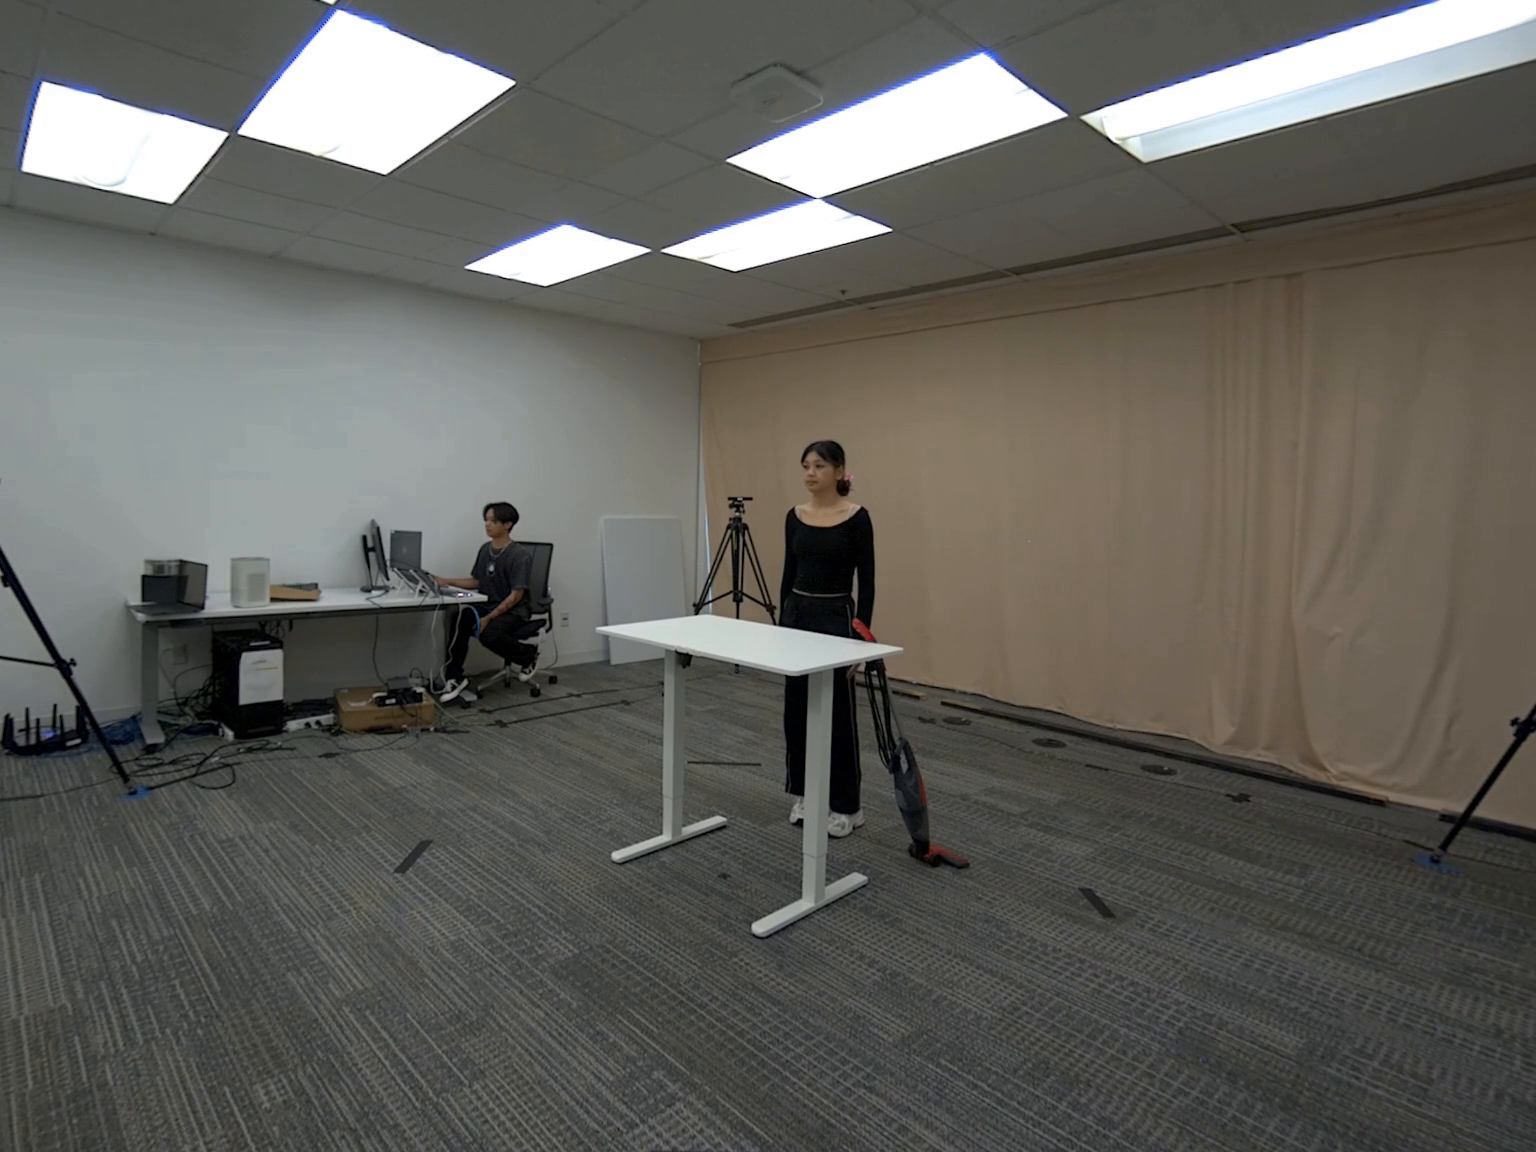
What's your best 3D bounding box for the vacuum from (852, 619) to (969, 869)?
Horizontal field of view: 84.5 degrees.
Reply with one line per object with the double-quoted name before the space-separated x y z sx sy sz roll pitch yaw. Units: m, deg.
"vacuum" 0.482 0.641 3.157 0.143 1.032 0.259 -29 21 -30
